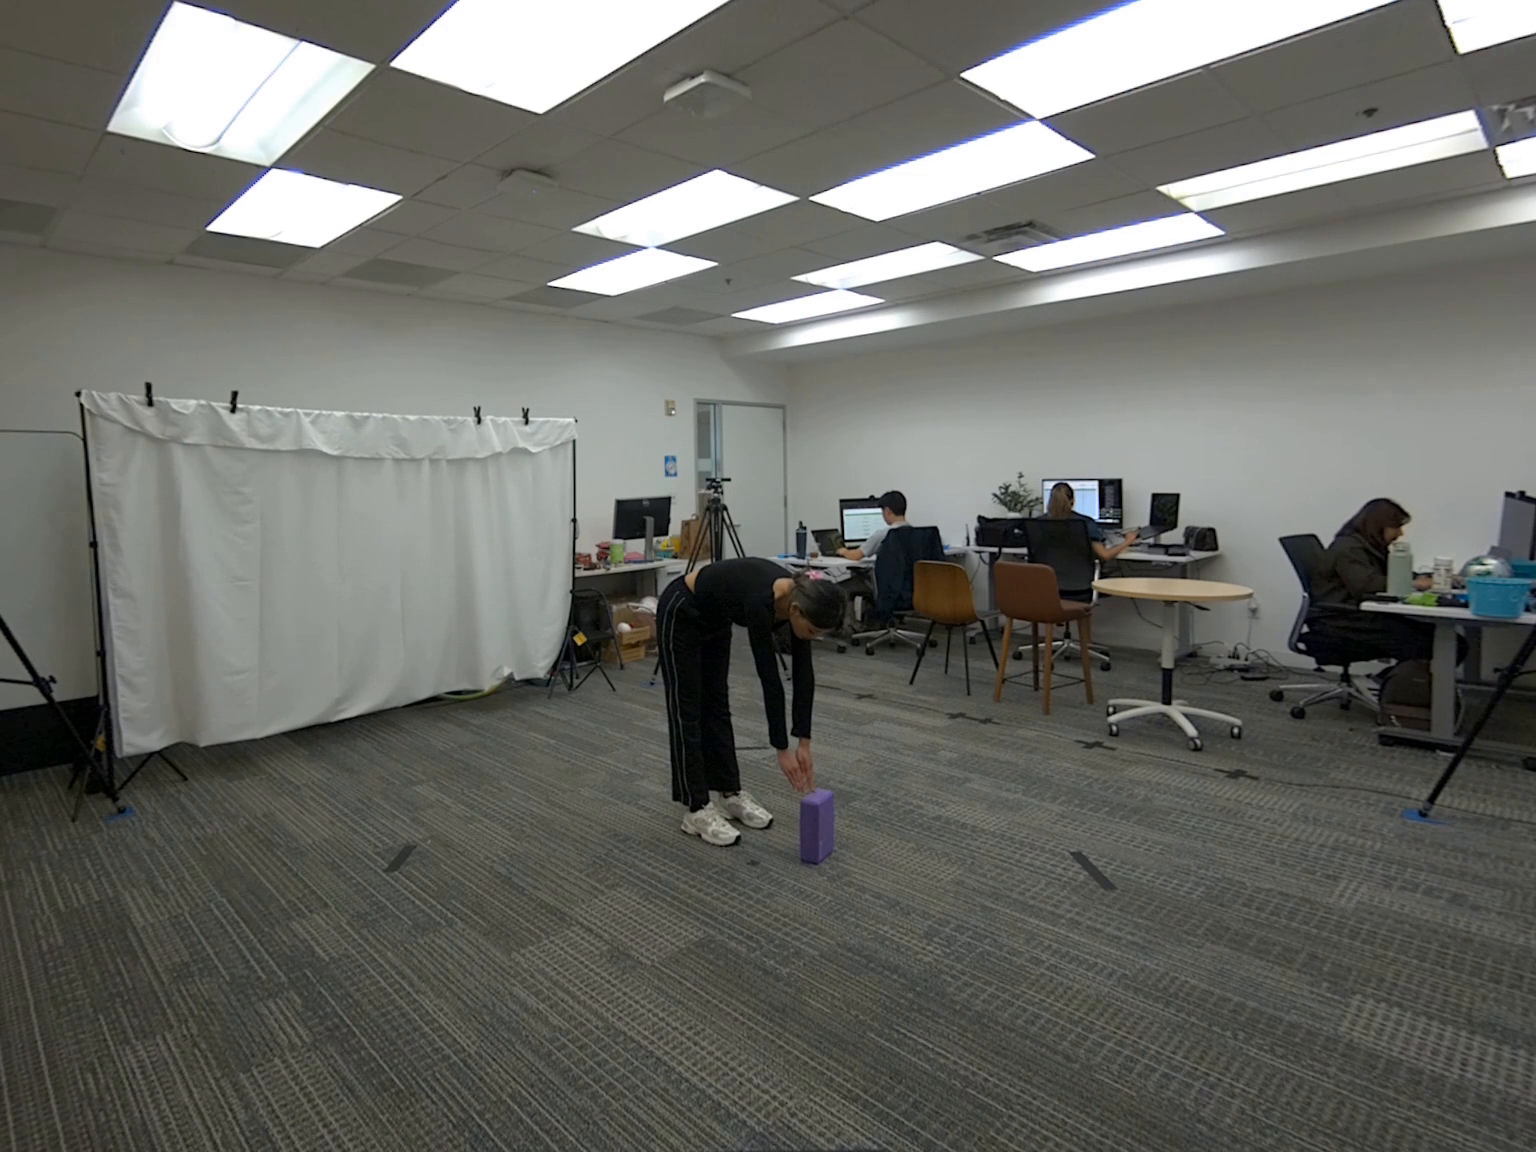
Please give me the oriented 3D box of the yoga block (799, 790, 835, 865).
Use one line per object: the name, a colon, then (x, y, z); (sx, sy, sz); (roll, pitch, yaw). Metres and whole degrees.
yoga block: (0.184, 0.918, 3.148); (0.078, 0.229, 0.146); (1, 4, 28)
